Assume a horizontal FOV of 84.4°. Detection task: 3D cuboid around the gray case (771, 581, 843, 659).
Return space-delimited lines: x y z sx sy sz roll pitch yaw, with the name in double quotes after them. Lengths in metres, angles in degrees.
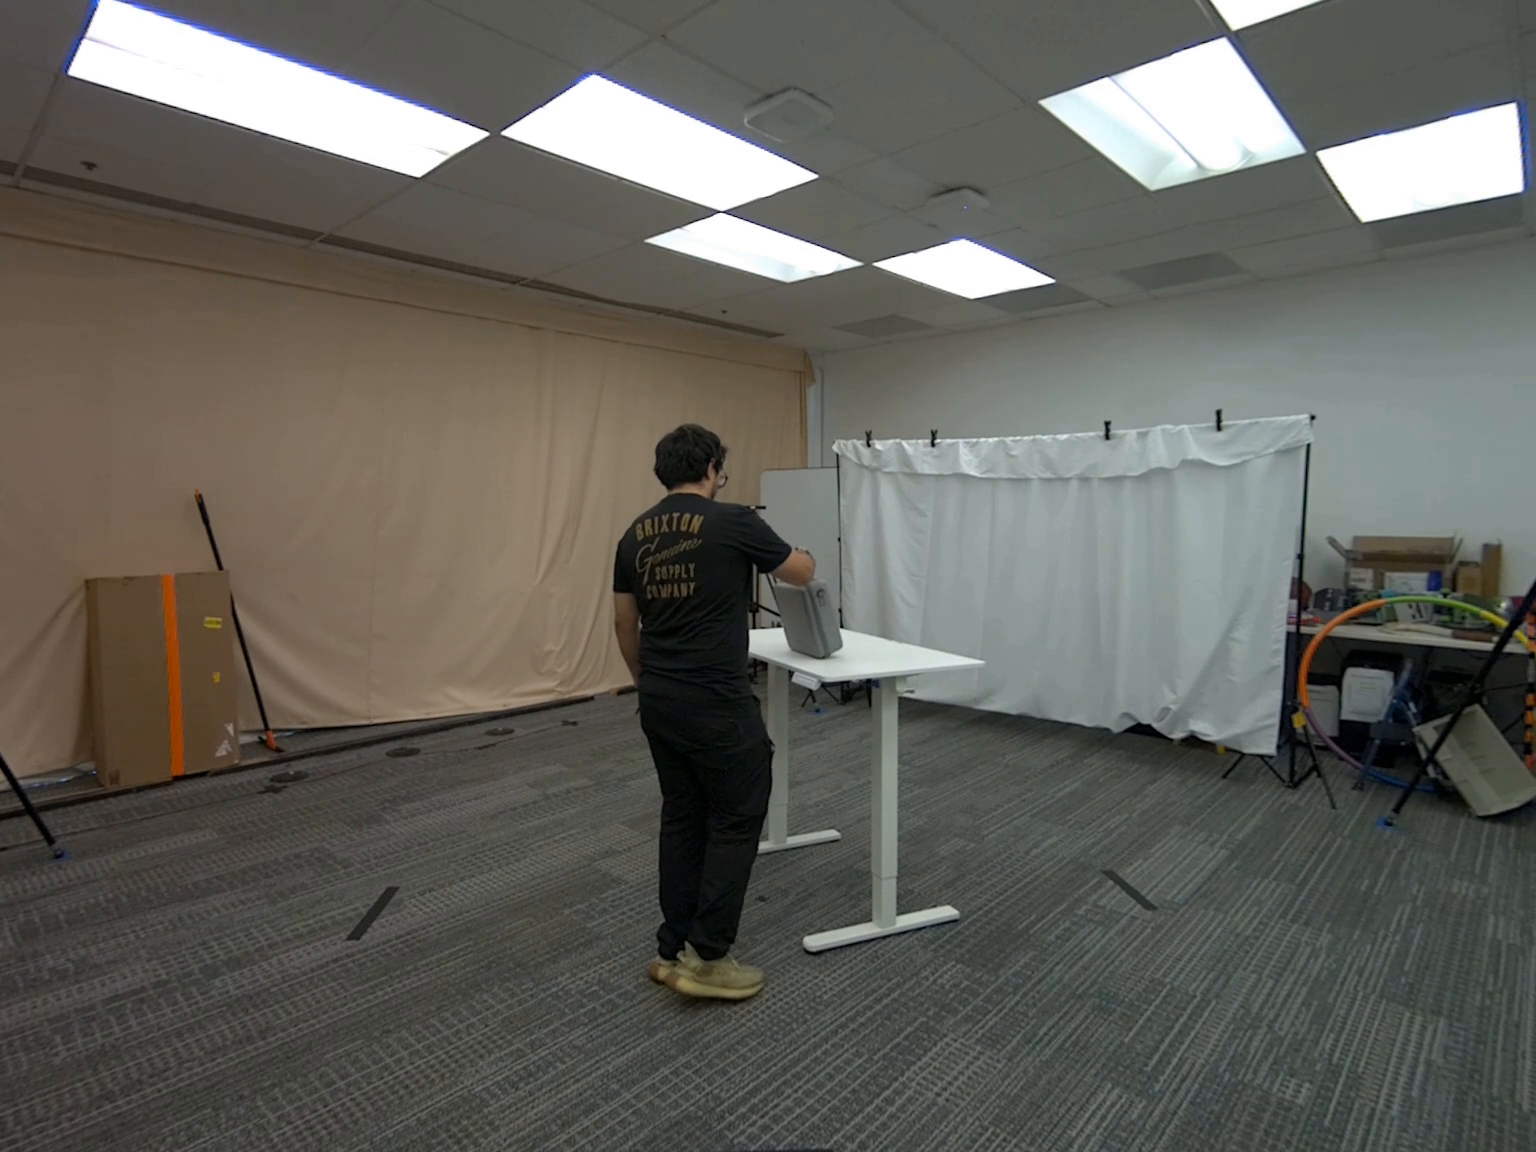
0.136 0.131 2.862 0.102 0.259 0.263 -14 6 -22 "gray case"
